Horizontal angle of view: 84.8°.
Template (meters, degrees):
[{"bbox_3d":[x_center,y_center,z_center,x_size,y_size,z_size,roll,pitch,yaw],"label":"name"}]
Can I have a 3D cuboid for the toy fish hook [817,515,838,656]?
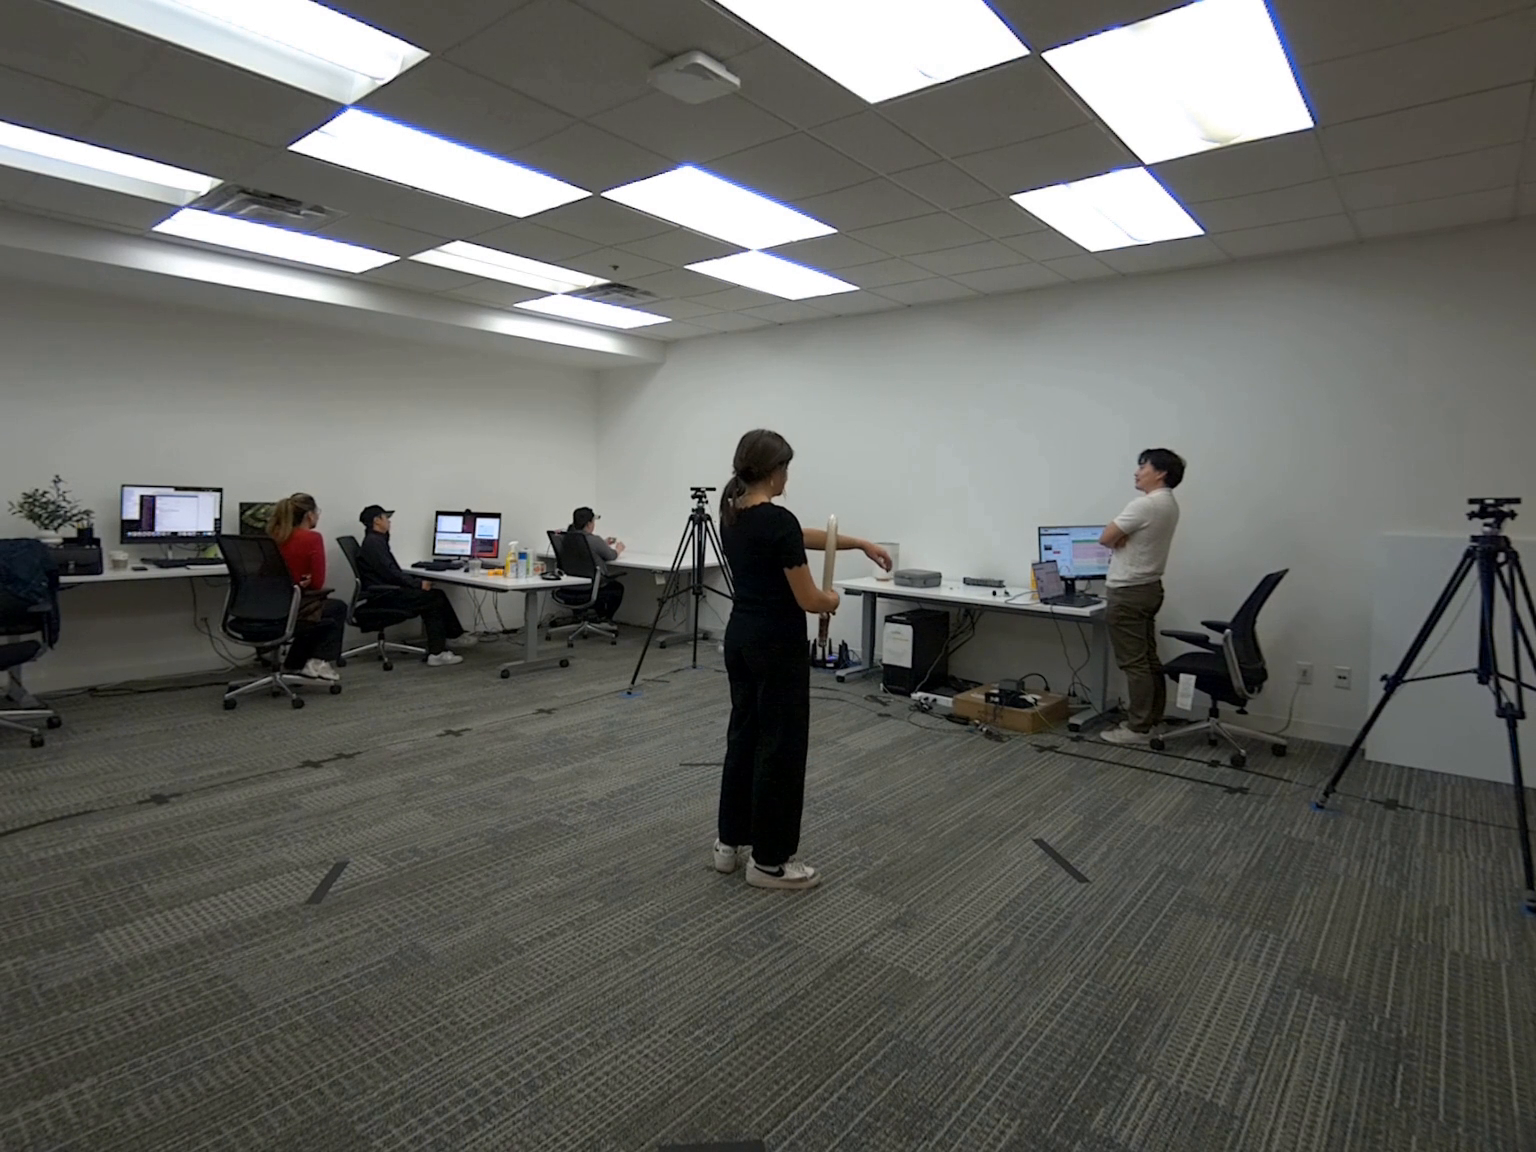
[{"bbox_3d":[0.218,0.015,3.212,0.049,0.510,0.221,6,-8,6],"label":"toy fish hook"}]
